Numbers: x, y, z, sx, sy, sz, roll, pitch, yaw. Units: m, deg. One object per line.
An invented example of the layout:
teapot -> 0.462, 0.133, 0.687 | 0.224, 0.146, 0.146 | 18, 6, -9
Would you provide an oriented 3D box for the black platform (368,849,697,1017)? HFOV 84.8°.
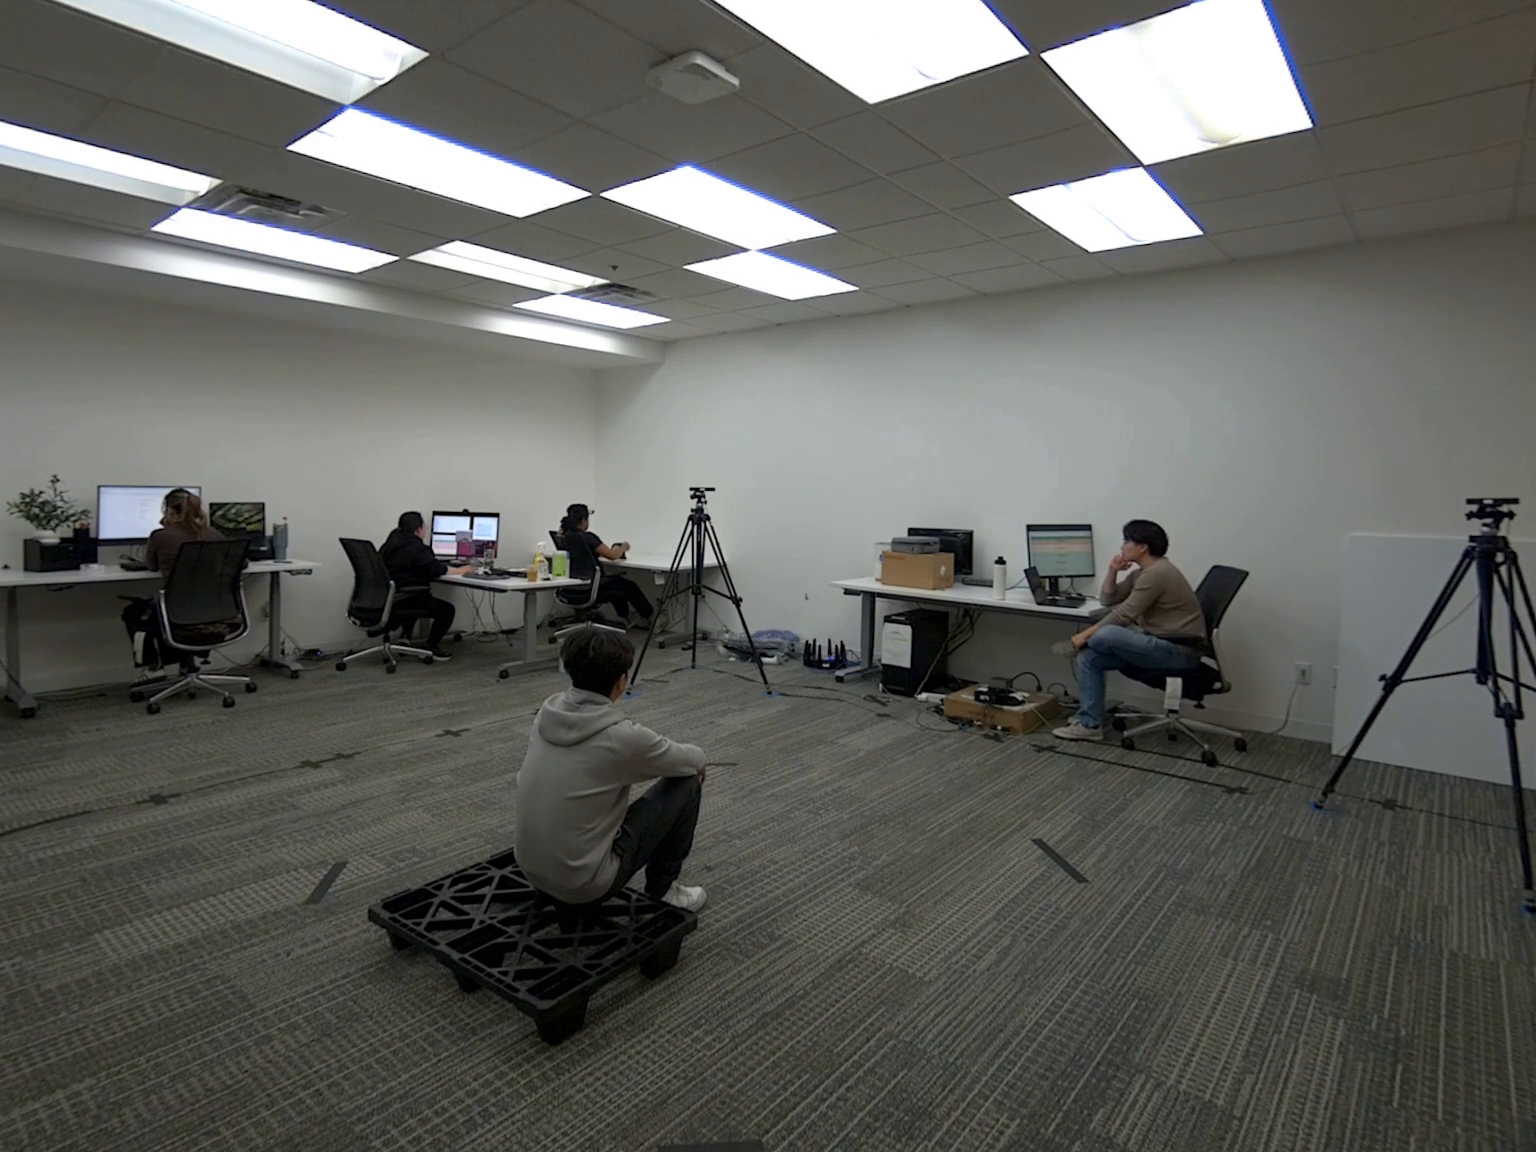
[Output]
black platform -> -0.706, 1.051, 2.517 | 0.832, 0.143, 0.588 | 5, 6, 36
